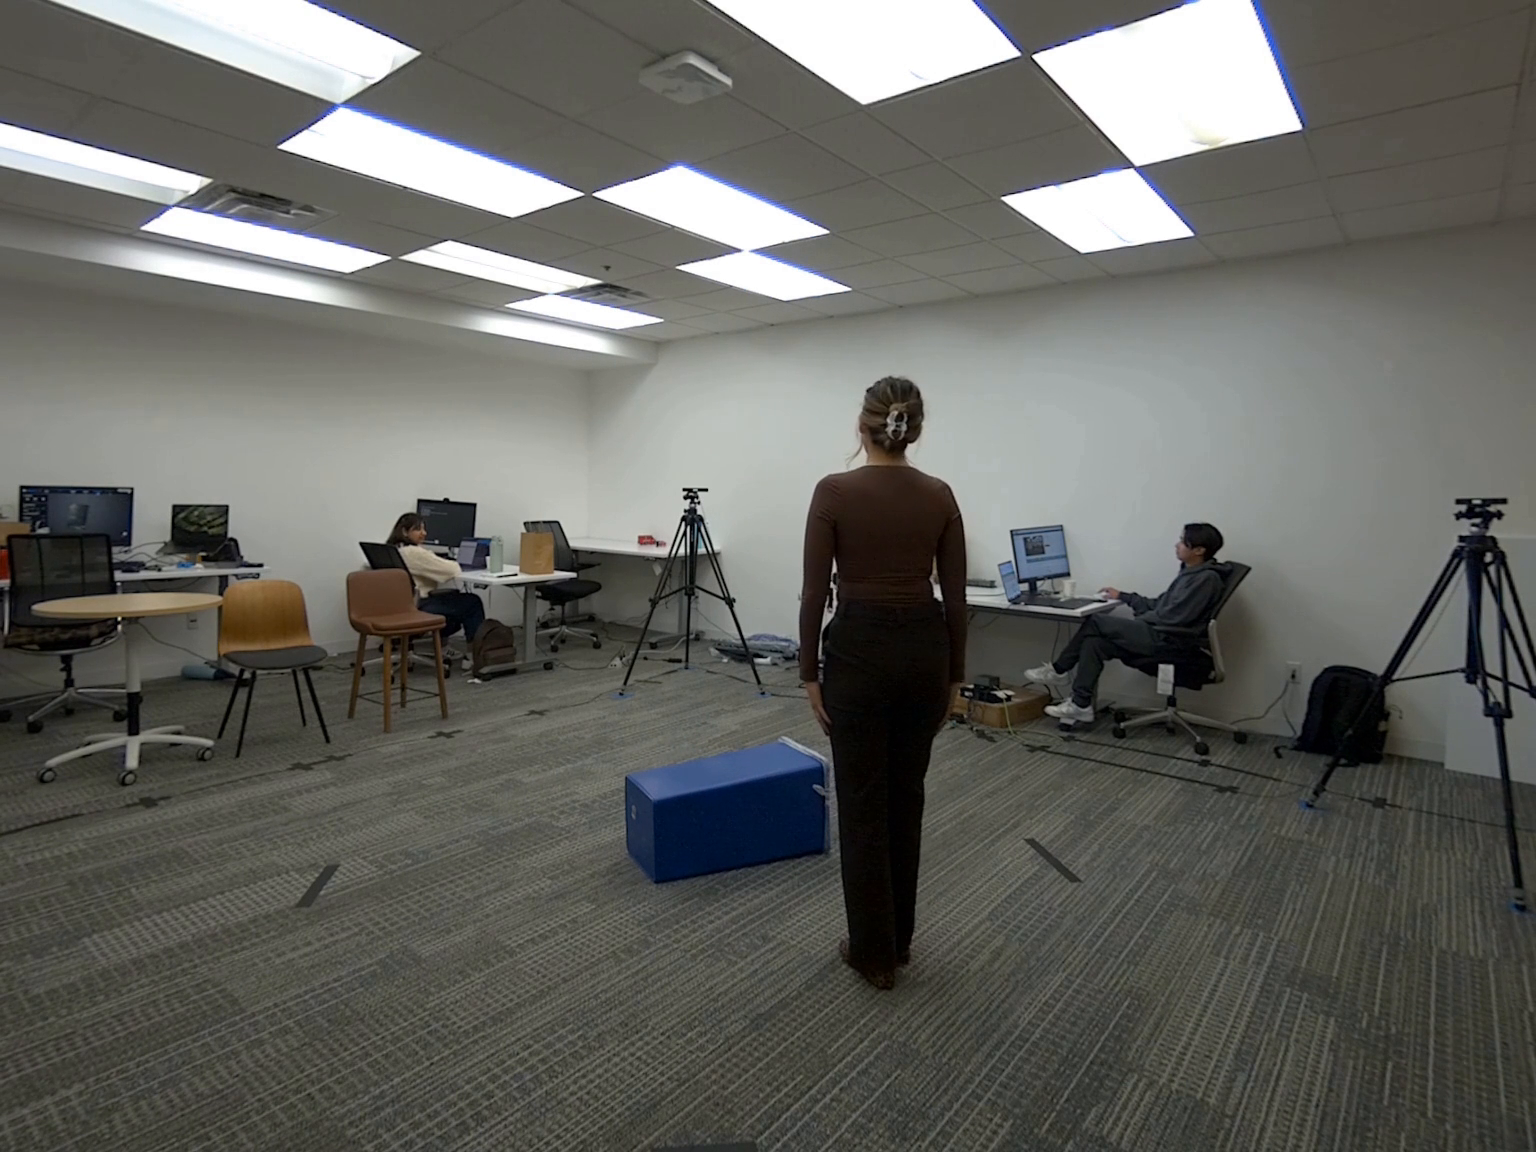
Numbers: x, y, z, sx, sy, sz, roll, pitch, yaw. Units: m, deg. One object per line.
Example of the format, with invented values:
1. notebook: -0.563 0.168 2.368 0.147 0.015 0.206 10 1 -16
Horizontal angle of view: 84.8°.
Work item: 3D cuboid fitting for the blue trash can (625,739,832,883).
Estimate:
1. blue trash can: -0.171 0.883 3.257 0.697 0.376 0.385 -3 7 -26
